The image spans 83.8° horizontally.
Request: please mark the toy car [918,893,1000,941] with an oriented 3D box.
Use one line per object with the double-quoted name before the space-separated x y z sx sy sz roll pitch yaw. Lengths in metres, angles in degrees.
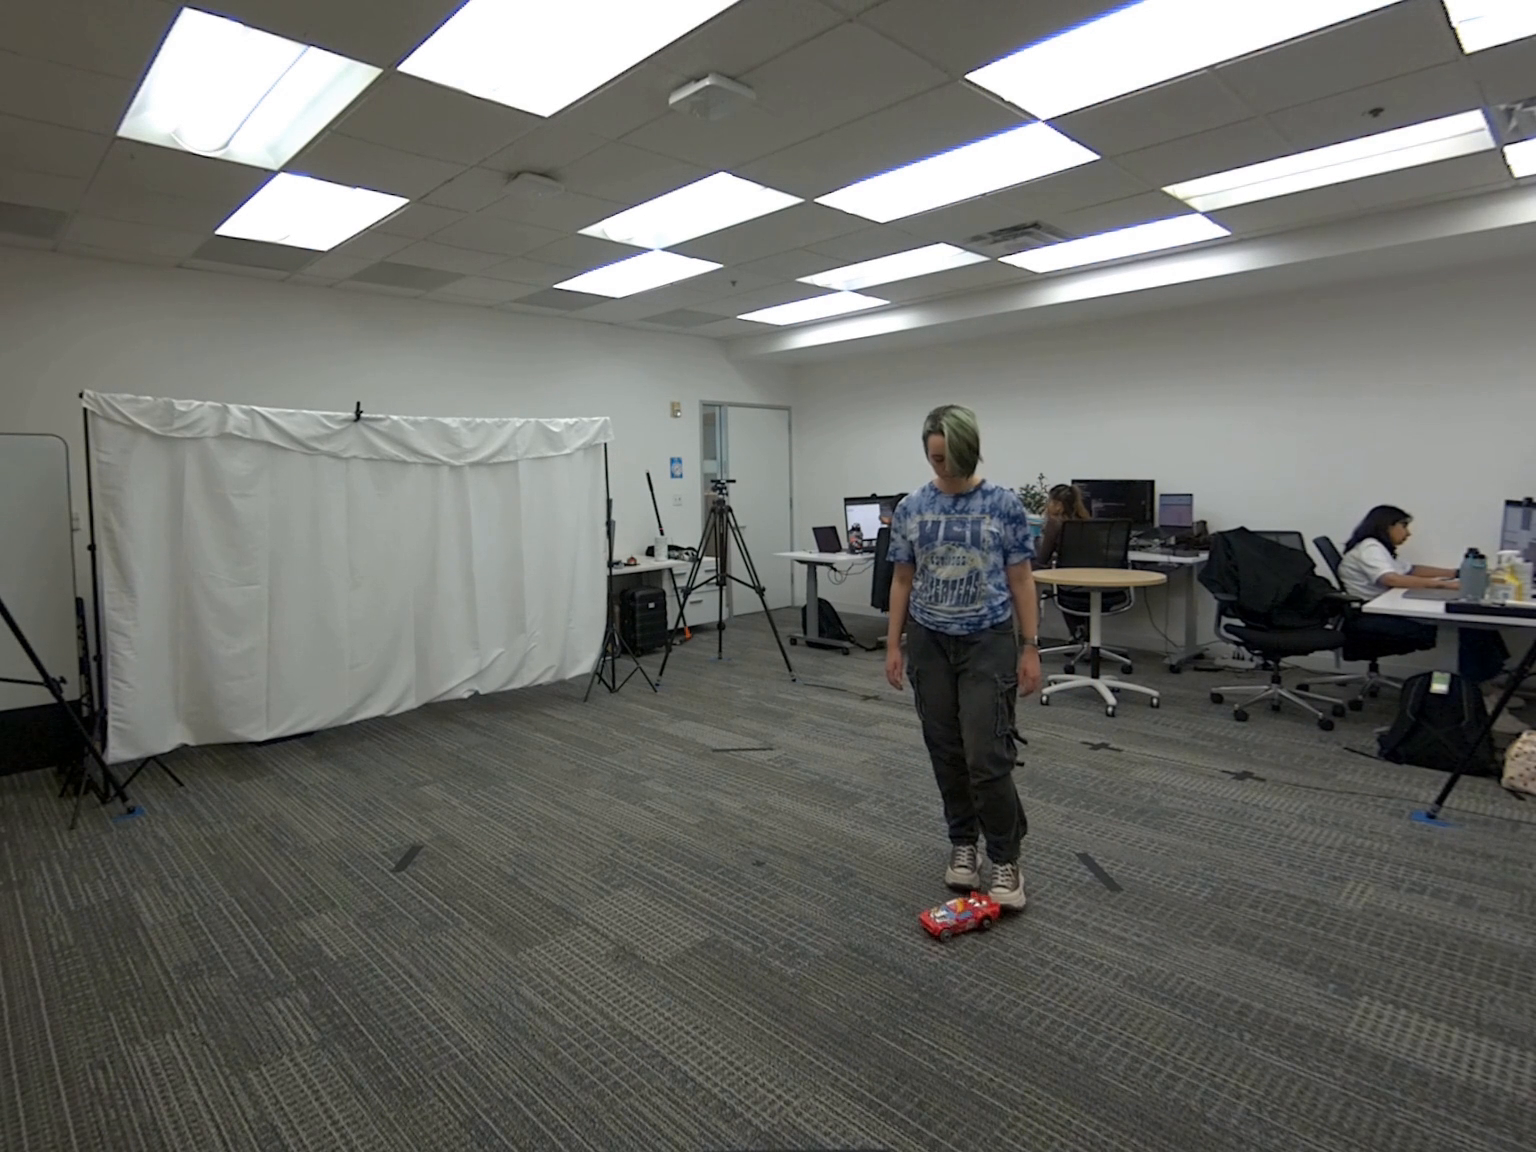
"toy car" 0.605 1.055 2.636 0.251 0.082 0.133 -17 12 -19
